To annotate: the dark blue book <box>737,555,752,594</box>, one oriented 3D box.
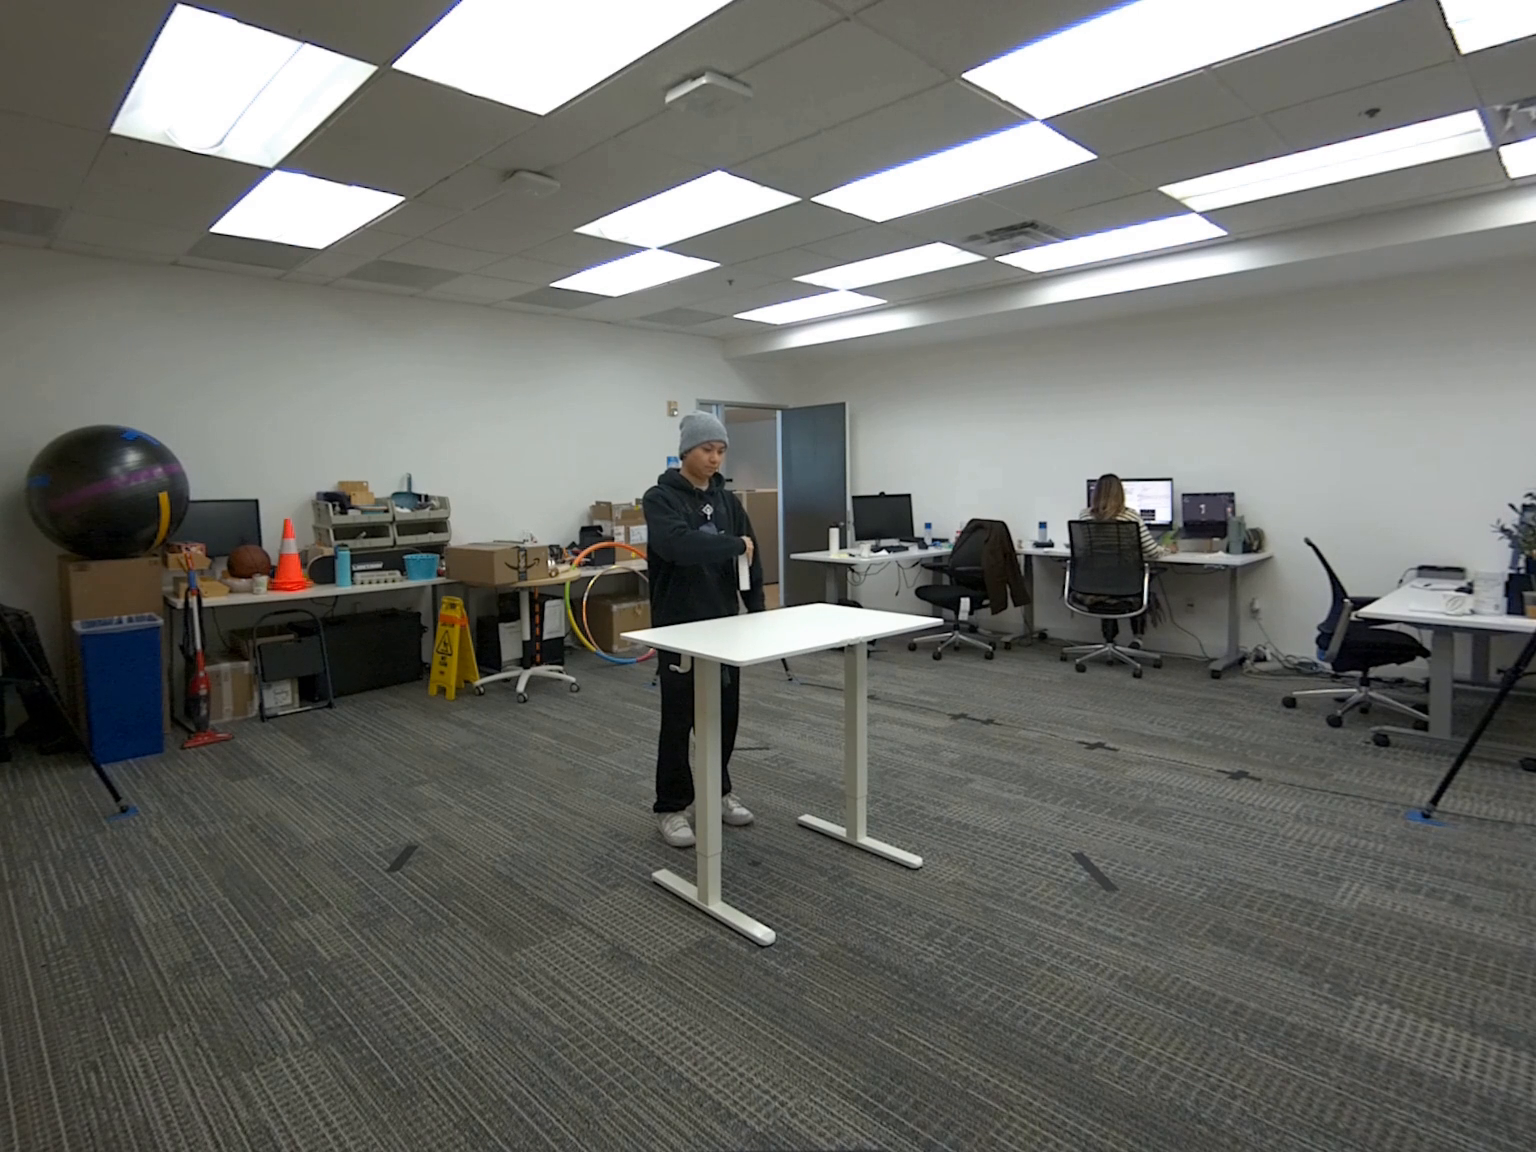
[{"bbox_3d":[-0.113,0.000,3.417,0.045,0.245,0.163,1,3,4],"label":"dark blue book"}]
